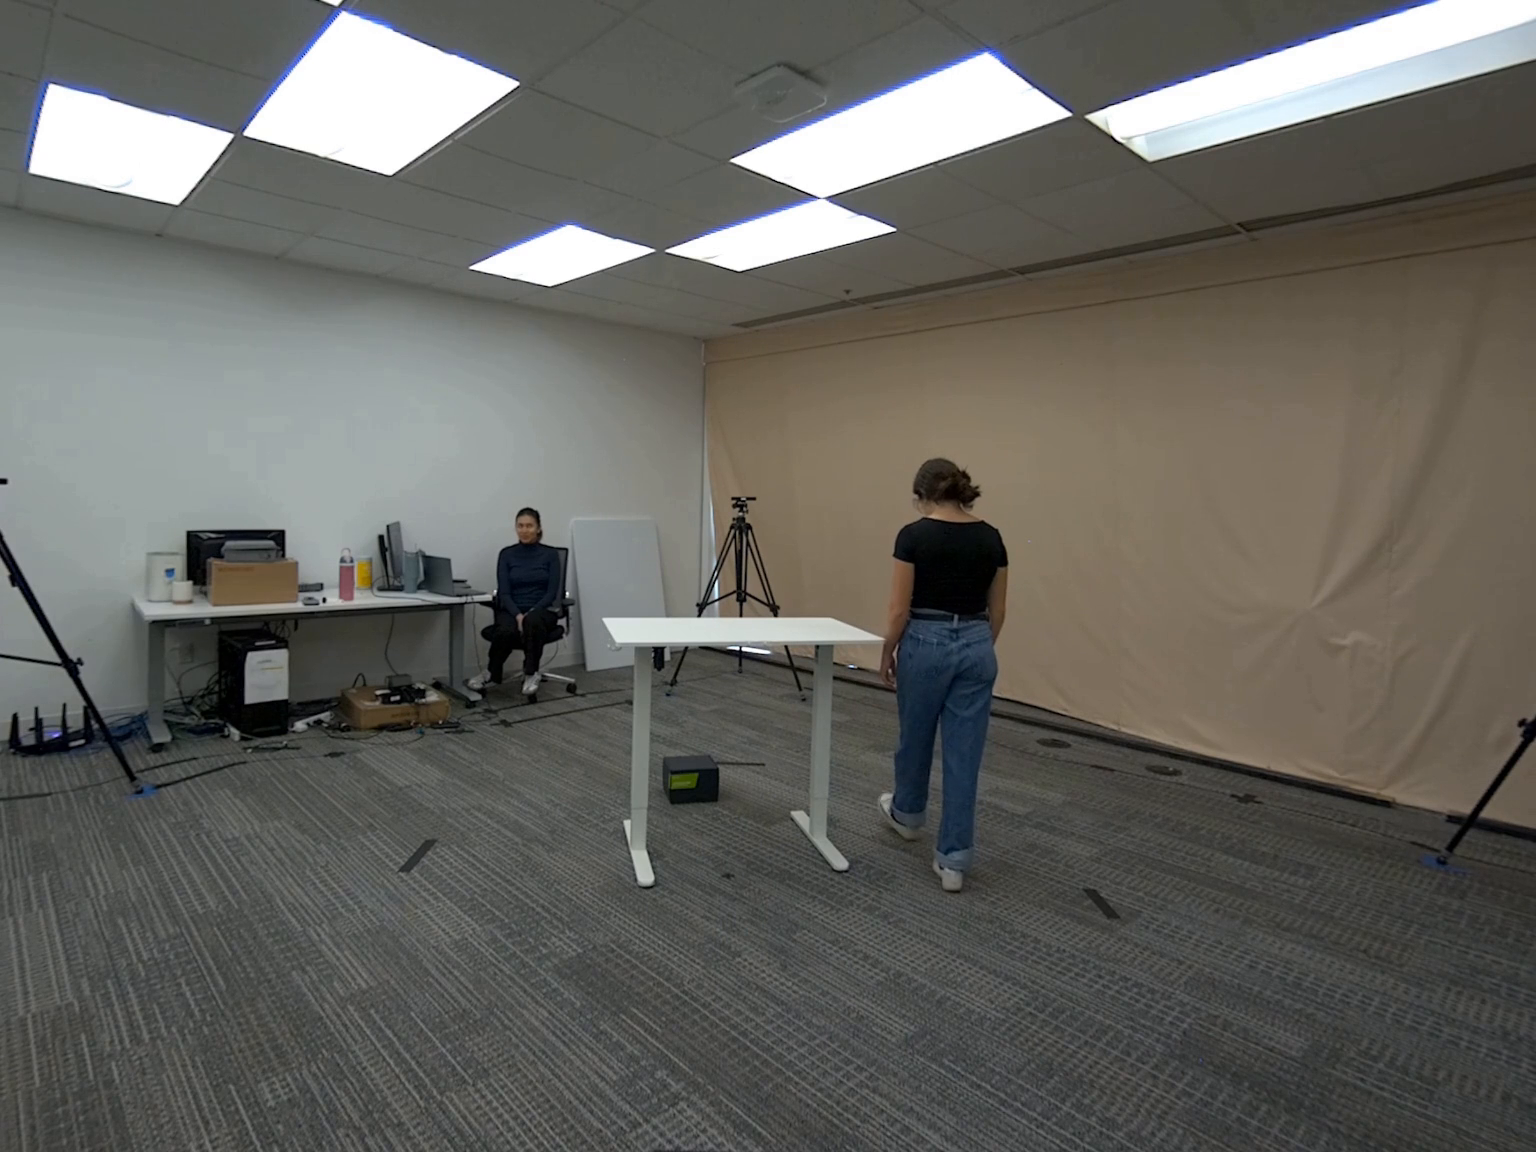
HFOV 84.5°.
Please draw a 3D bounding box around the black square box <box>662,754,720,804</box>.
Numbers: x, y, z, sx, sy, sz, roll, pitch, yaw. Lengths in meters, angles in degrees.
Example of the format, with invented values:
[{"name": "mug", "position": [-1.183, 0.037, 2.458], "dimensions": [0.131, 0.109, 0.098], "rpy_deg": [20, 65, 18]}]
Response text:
[{"name": "black square box", "position": [-0.373, 0.946, 3.947], "dimensions": [0.225, 0.155, 0.220], "rpy_deg": [0, 4, -15]}]
